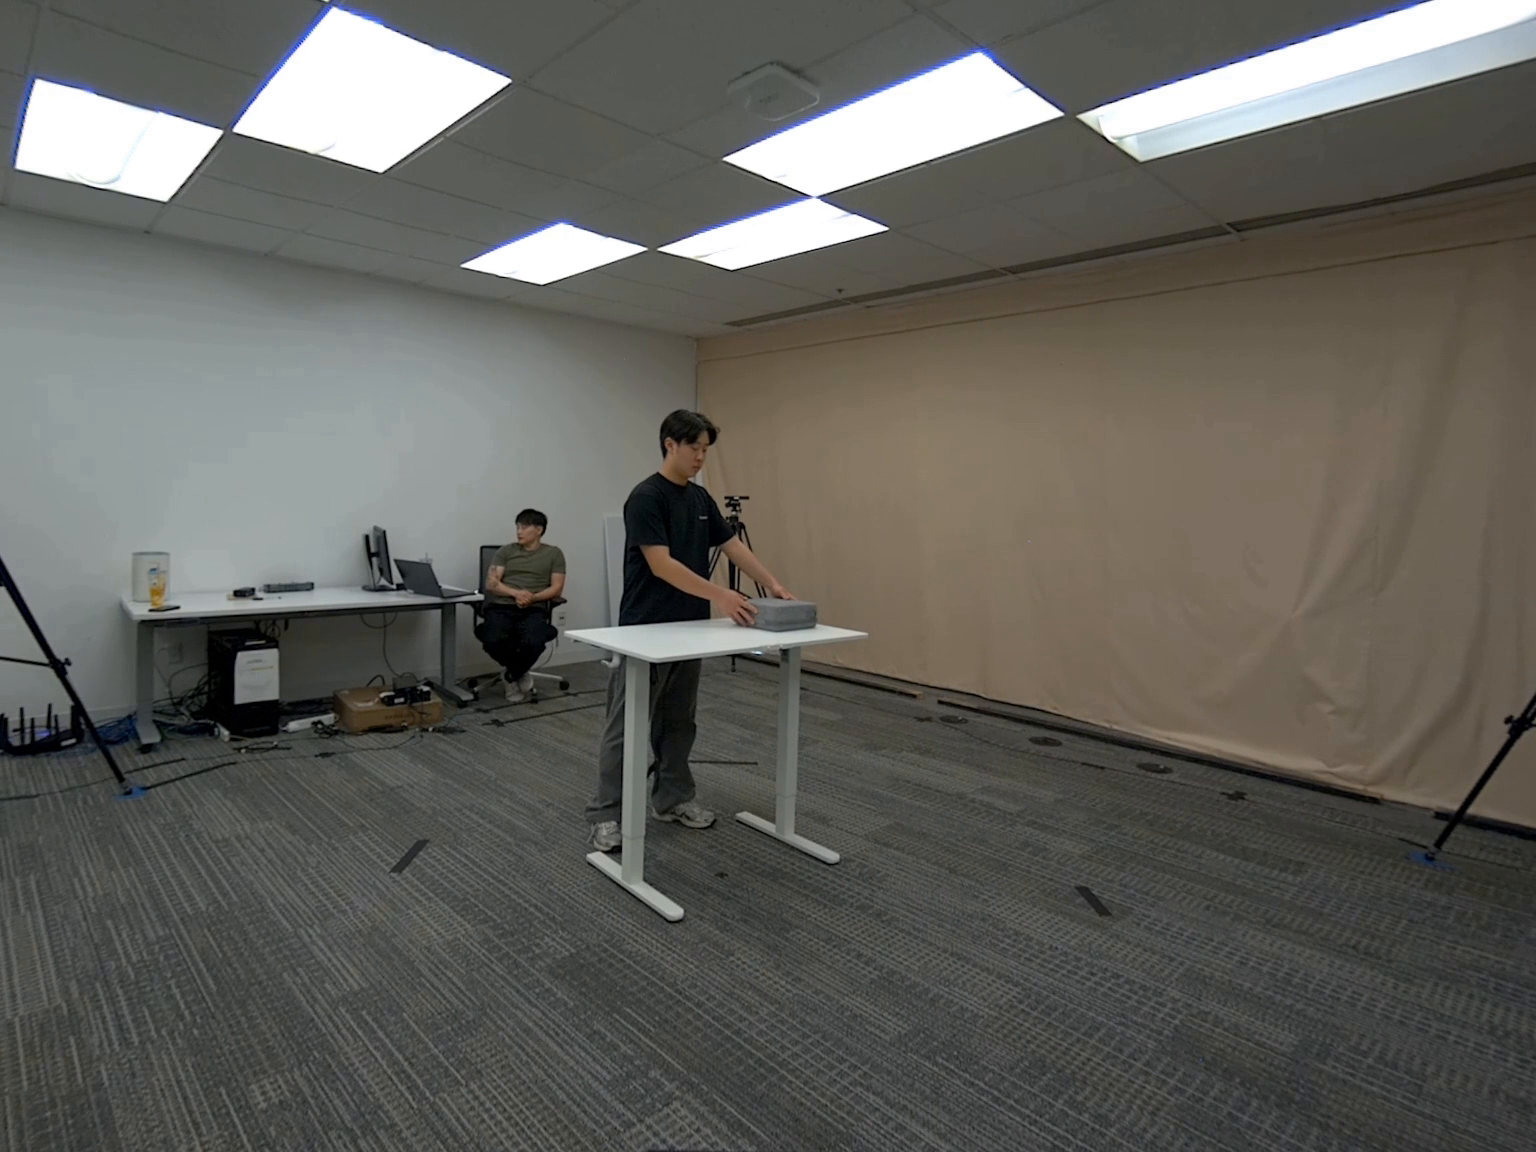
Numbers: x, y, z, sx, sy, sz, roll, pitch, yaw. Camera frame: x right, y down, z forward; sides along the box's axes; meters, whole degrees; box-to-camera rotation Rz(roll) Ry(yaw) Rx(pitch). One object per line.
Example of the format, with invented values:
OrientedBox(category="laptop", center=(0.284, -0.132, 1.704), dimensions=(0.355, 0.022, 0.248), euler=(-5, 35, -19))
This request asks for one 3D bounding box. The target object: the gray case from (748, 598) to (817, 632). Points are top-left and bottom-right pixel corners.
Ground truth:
OrientedBox(category="gray case", center=(0.036, 0.152, 3.385), dimensions=(0.281, 0.103, 0.270), euler=(-3, 7, -41))
